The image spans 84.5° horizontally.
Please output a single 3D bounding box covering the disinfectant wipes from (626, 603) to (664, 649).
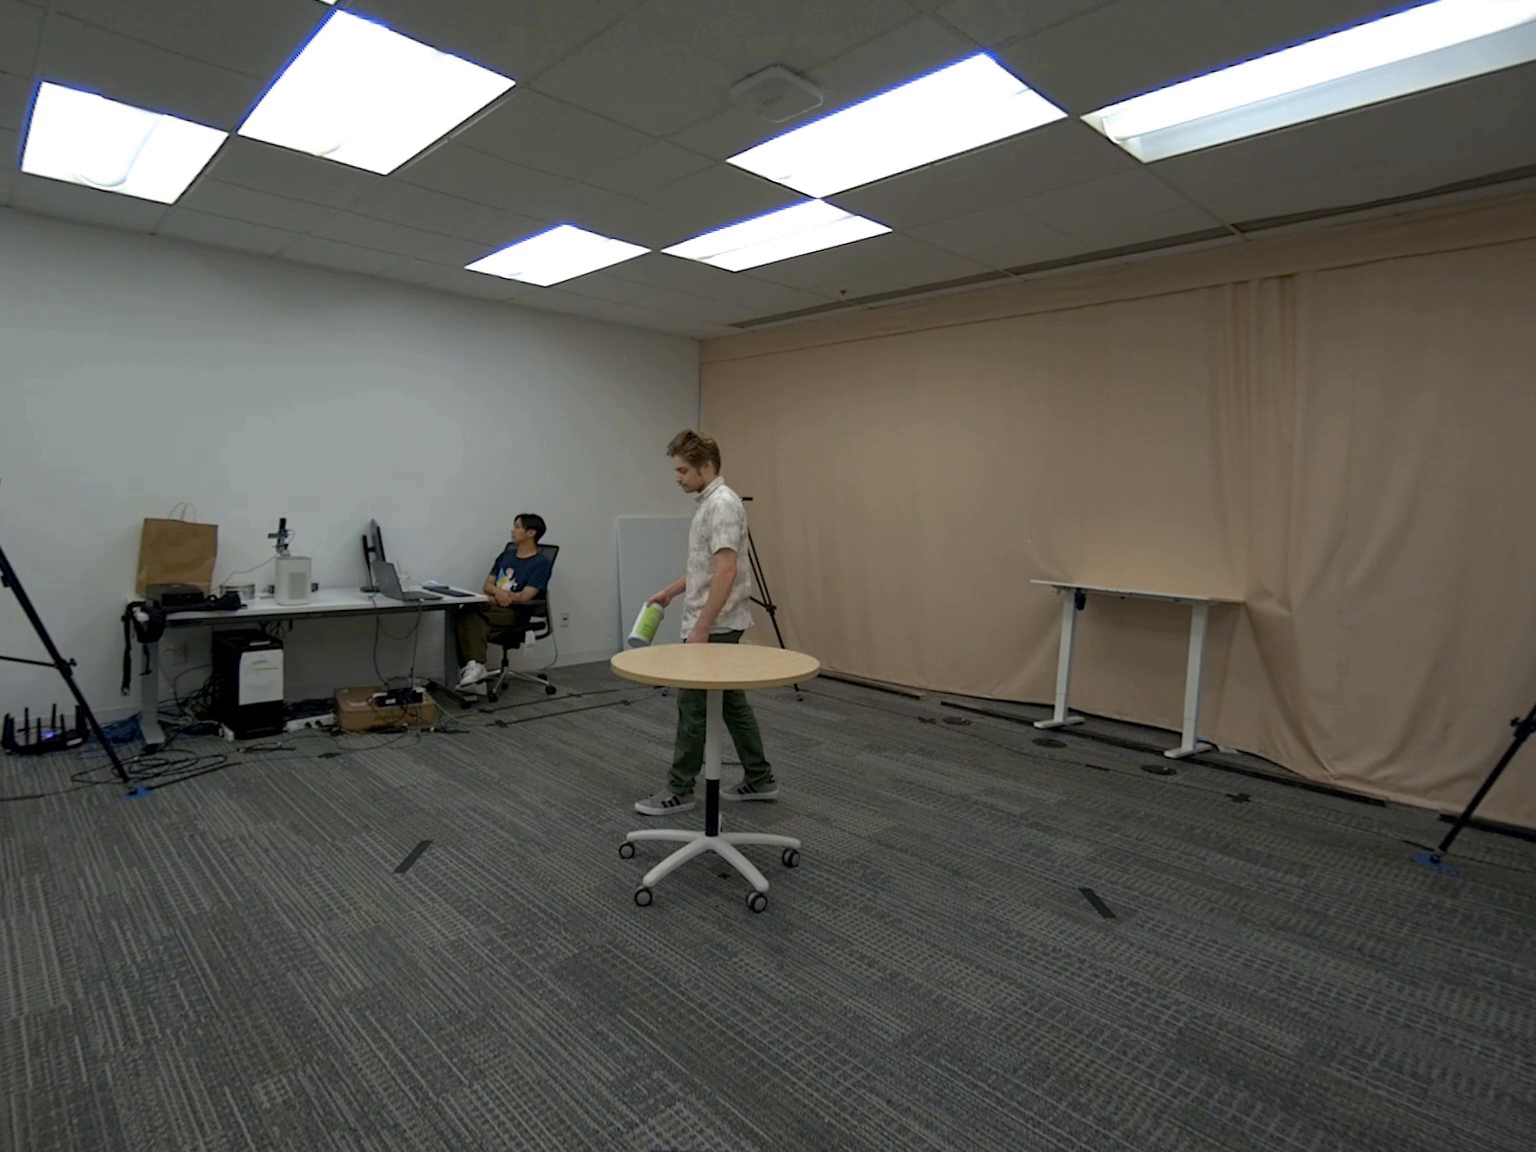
[{"bbox_3d":[-0.582,0.235,3.969,0.119,0.220,0.115,14,-35,9],"label":"disinfectant wipes"}]
